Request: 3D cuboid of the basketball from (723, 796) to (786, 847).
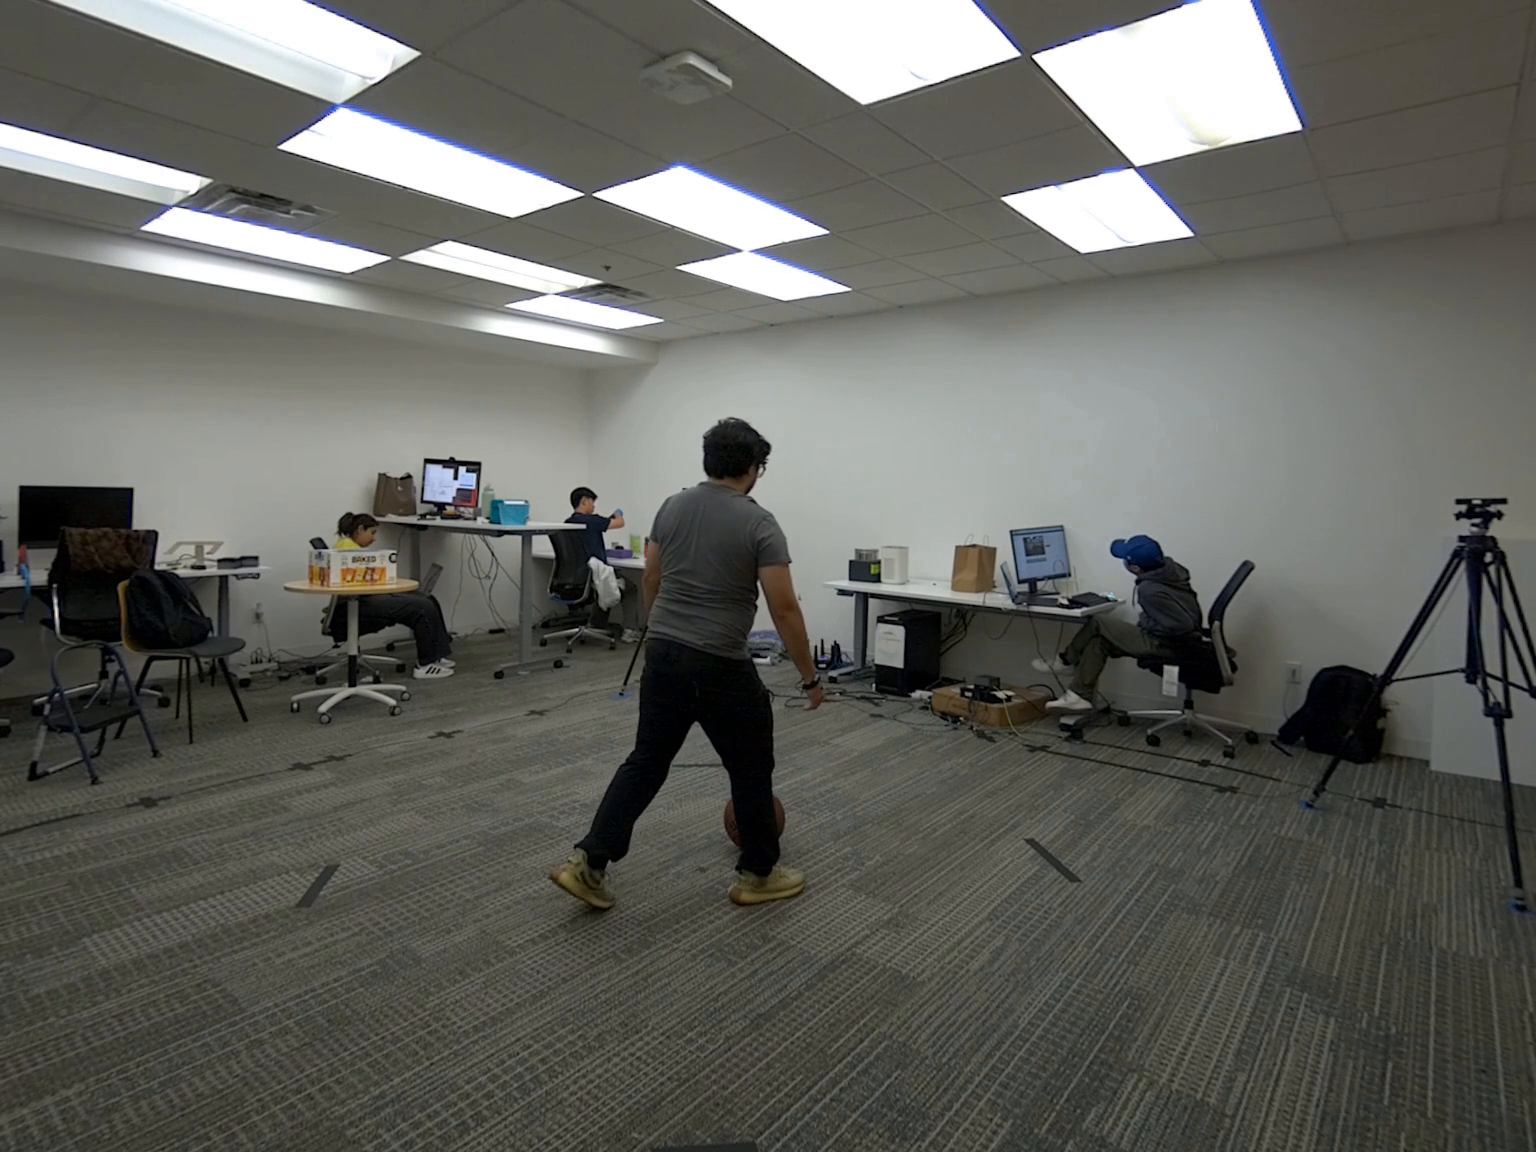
[{"bbox_3d":[-0.061,0.929,3.289,0.235,0.235,0.237,1,4,-2],"label":"basketball"}]
